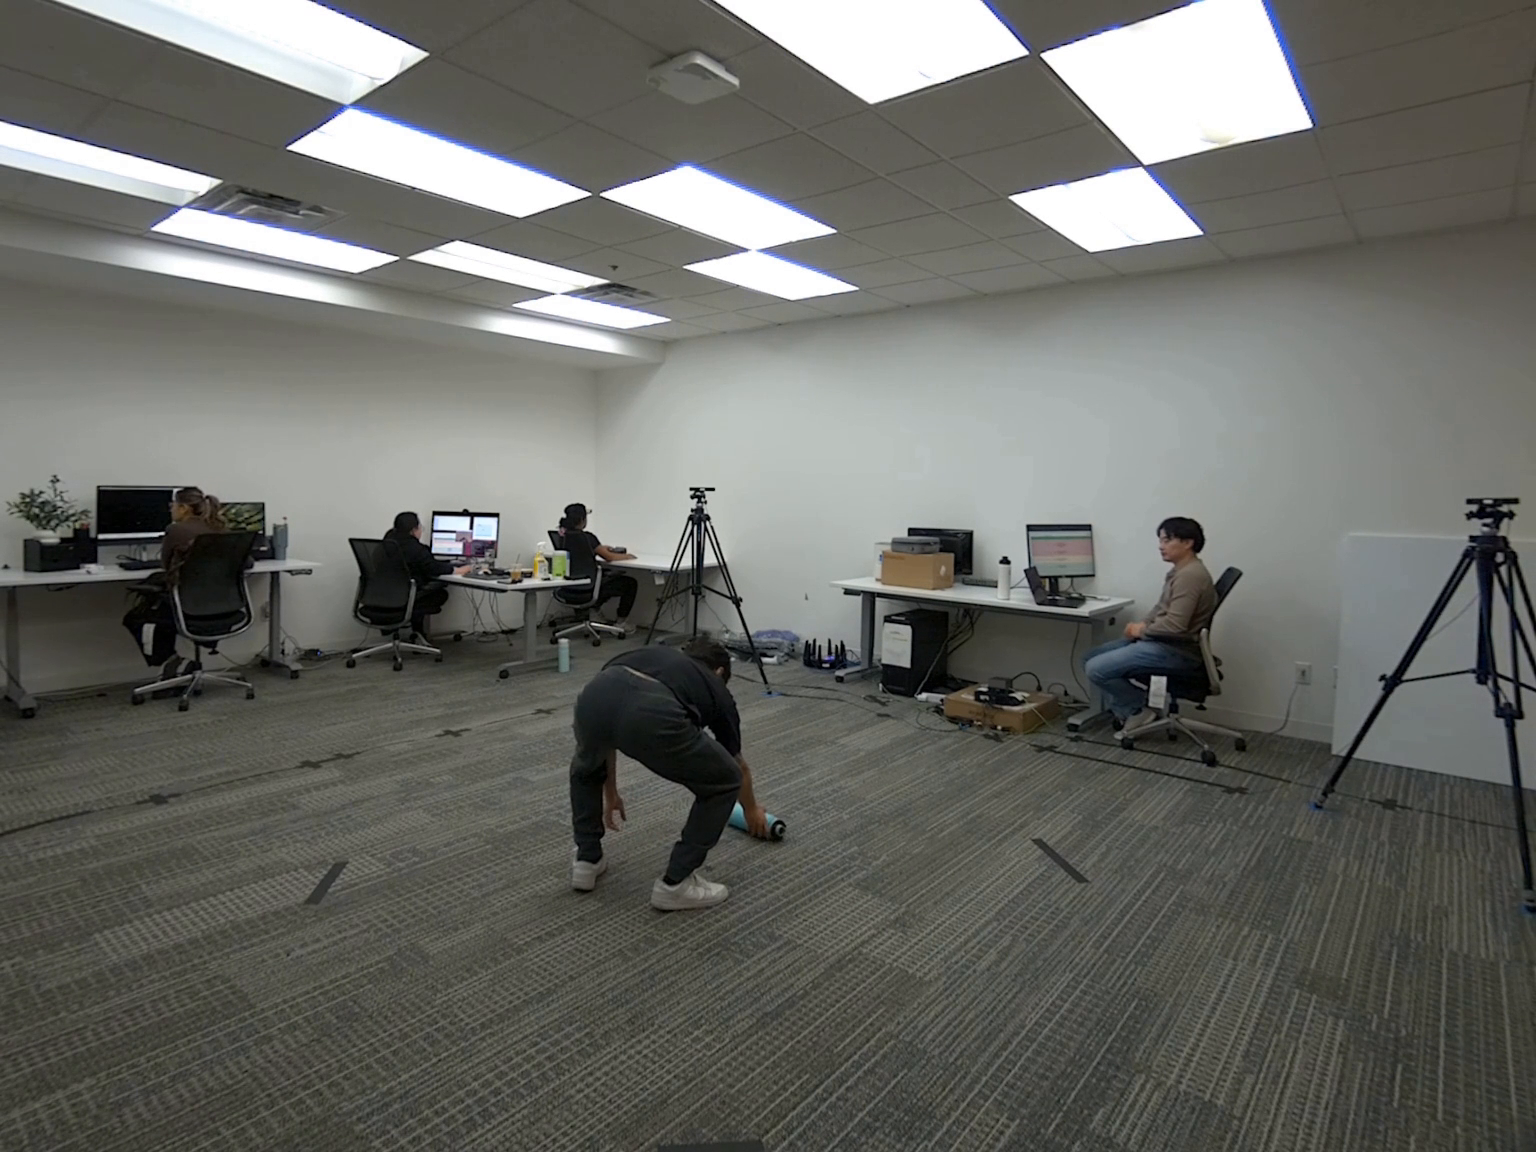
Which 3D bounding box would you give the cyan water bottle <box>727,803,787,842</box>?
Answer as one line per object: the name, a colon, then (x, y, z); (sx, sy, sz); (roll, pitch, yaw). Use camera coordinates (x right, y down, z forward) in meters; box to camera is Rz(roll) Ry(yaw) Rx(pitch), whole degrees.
cyan water bottle: (-0.058, 0.994, 3.448); (0.293, 0.092, 0.089); (5, 6, 41)
